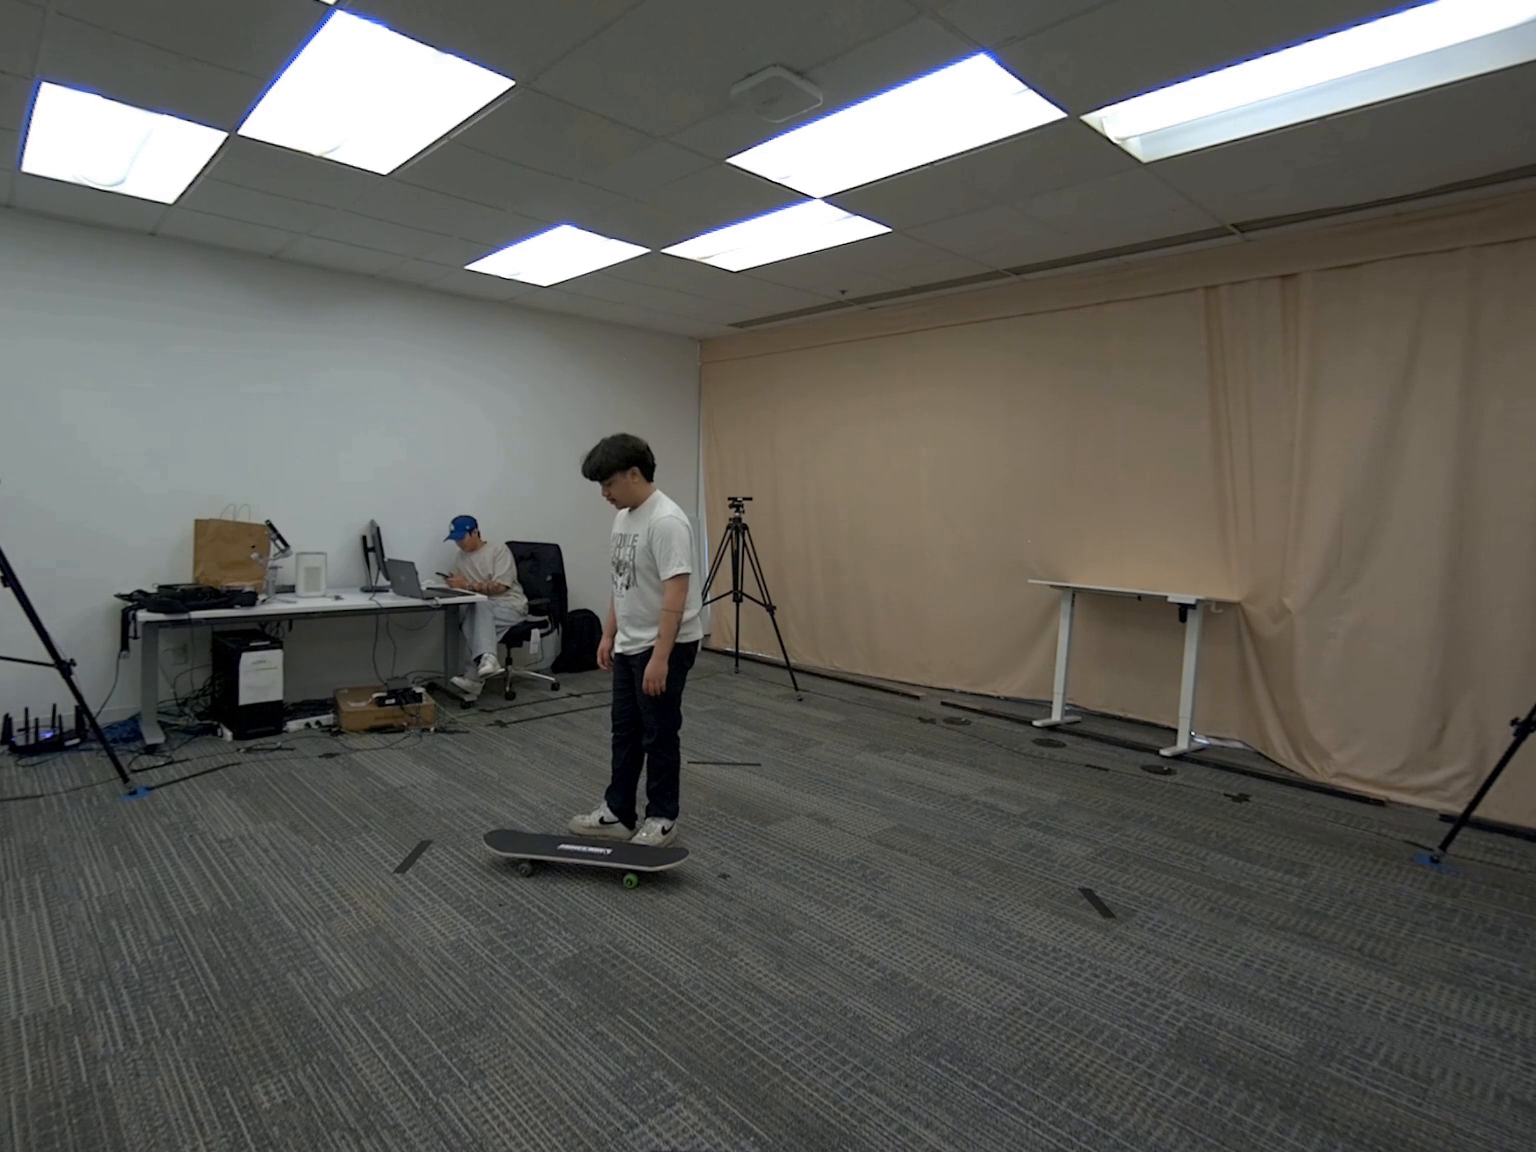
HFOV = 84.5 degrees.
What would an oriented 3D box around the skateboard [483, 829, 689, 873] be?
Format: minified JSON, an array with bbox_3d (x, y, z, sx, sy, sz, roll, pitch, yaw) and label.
[{"bbox_3d":[-0.676,1.036,3.101,0.792,0.110,0.192,2,6,11],"label":"skateboard"}]
